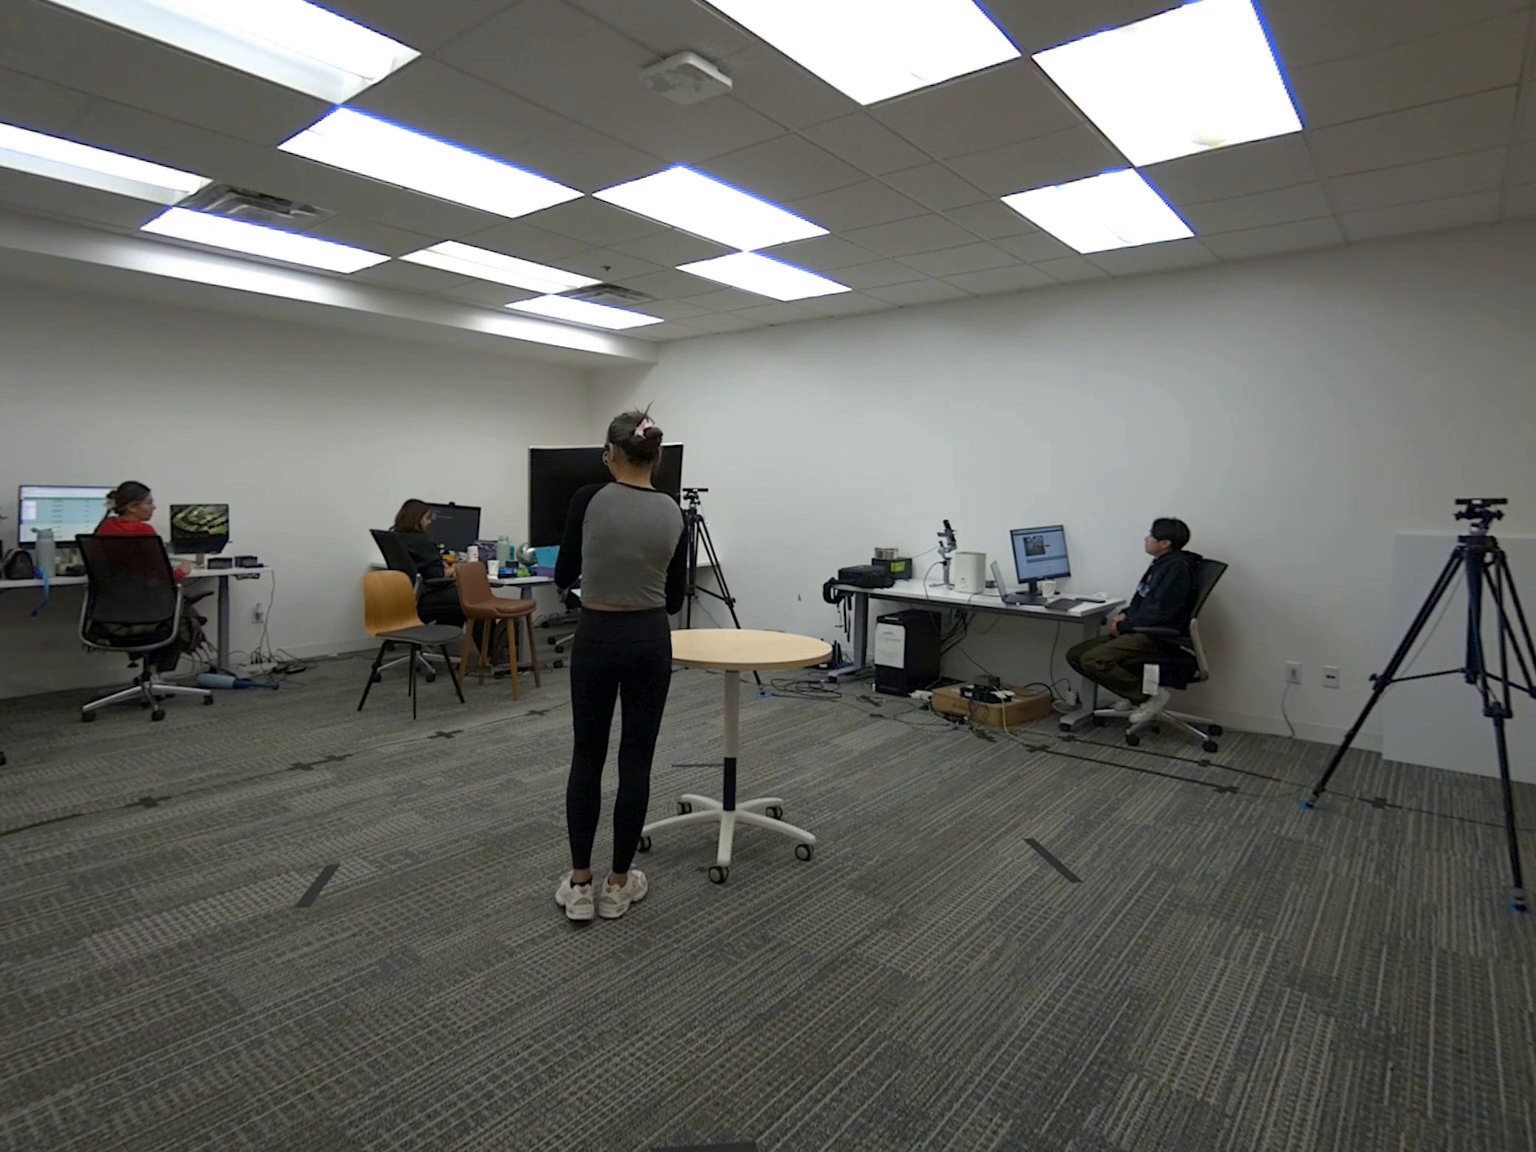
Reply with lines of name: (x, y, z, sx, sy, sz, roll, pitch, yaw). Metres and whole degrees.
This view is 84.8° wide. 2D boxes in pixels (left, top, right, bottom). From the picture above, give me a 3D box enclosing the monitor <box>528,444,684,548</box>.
monitor: (-0.570, -0.195, 3.024, 0.527, 0.518, 0.193, -4, 9, -25)
